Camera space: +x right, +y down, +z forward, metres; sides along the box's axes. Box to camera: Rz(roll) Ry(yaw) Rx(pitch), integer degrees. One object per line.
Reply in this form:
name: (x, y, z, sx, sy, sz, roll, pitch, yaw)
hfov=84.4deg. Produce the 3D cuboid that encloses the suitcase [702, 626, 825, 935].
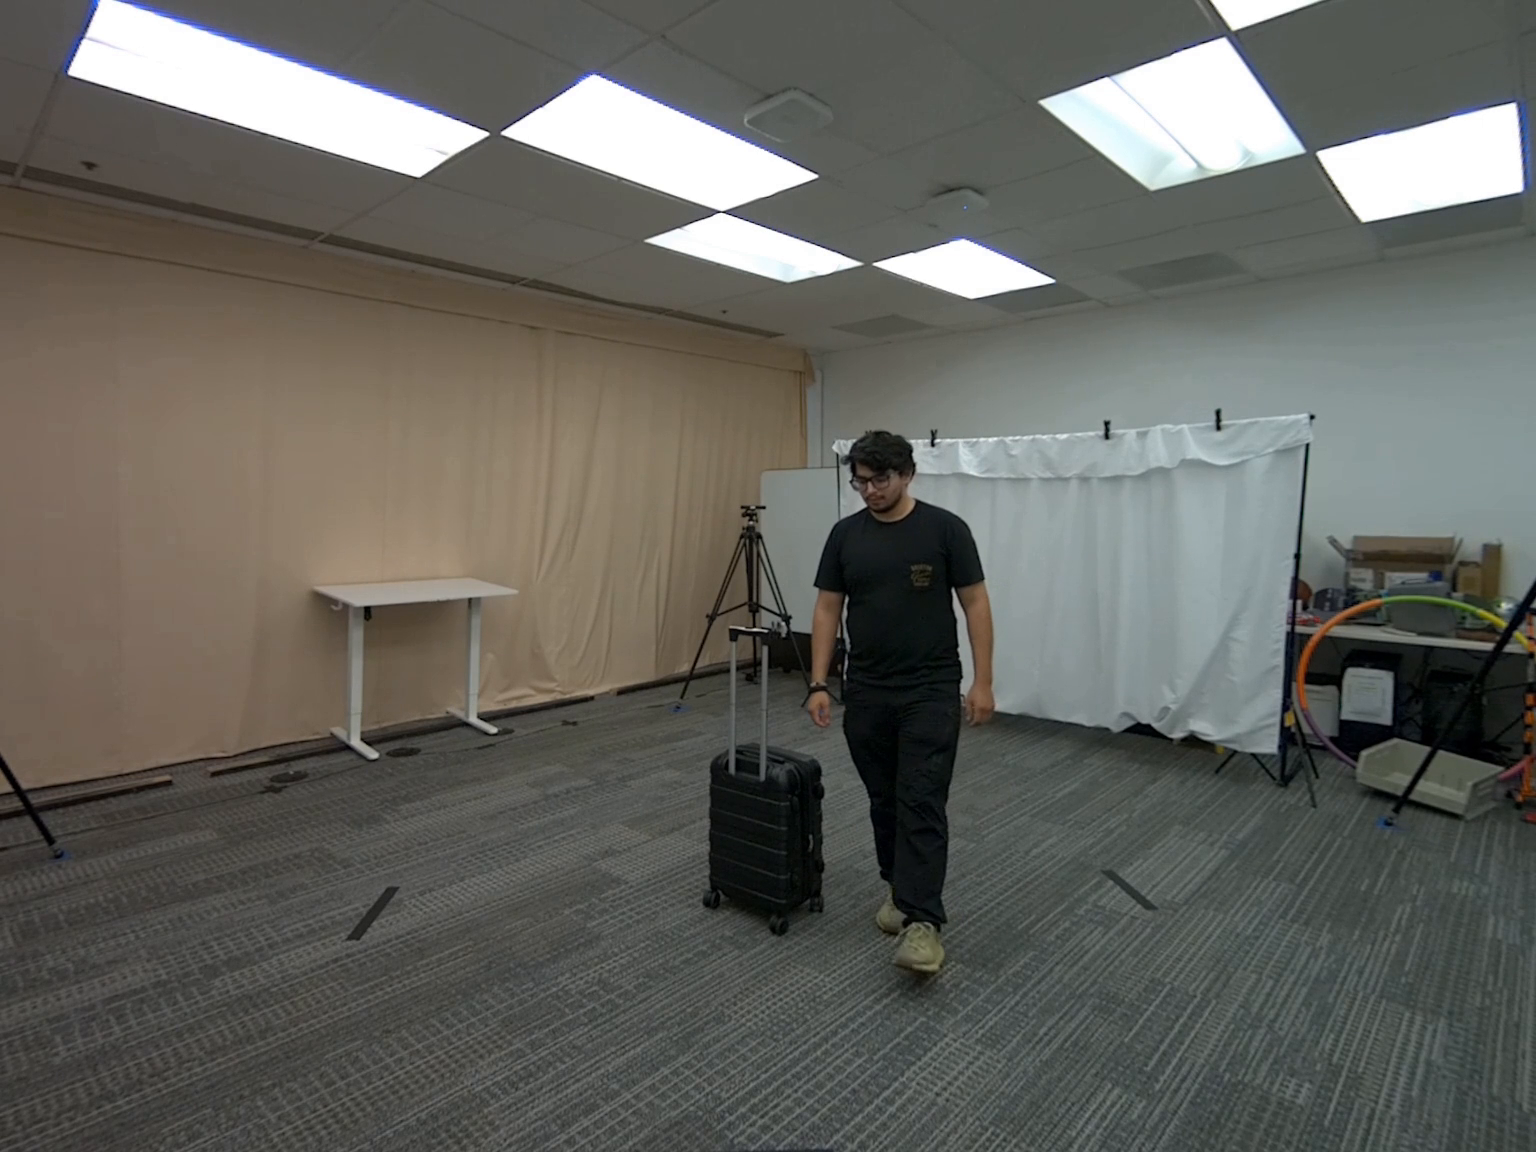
suitcase: (-0.008, 0.669, 2.917, 0.396, 0.978, 0.249, 1, 1, 38)
